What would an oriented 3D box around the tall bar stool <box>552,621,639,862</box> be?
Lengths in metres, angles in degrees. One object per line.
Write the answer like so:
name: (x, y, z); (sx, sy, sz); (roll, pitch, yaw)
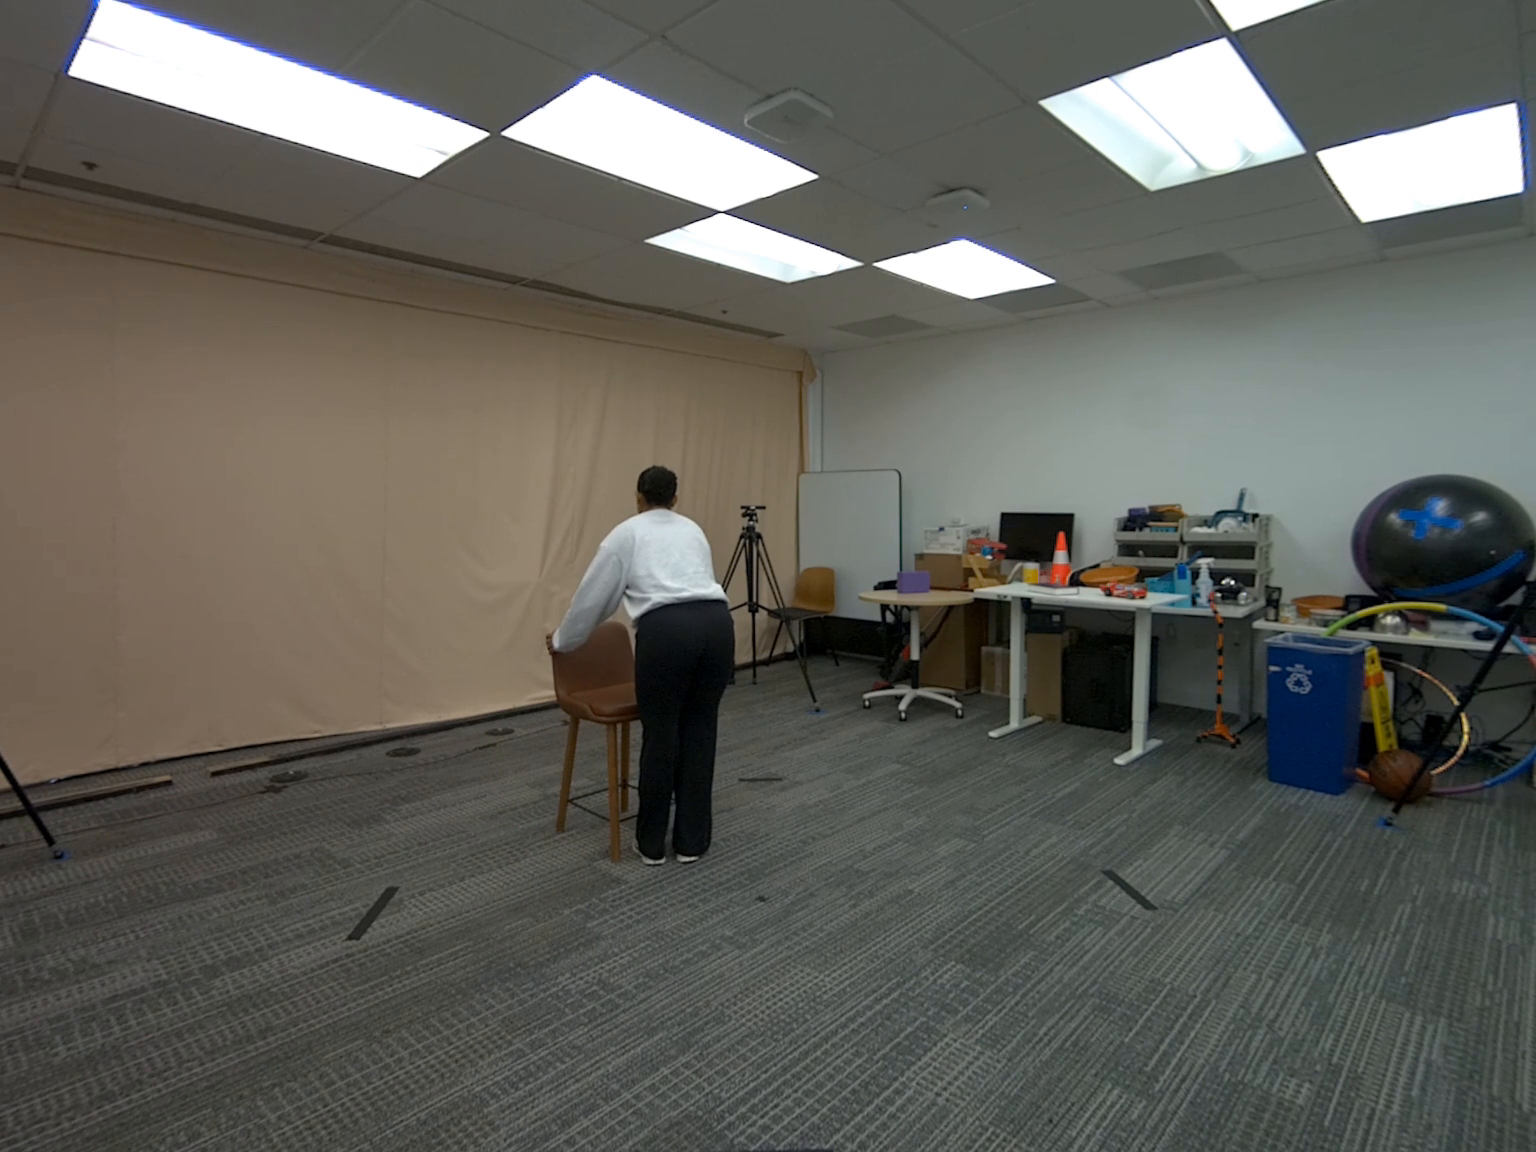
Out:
tall bar stool: (-0.632, 0.657, 3.572); (0.442, 0.888, 0.483); (-4, 3, -45)
